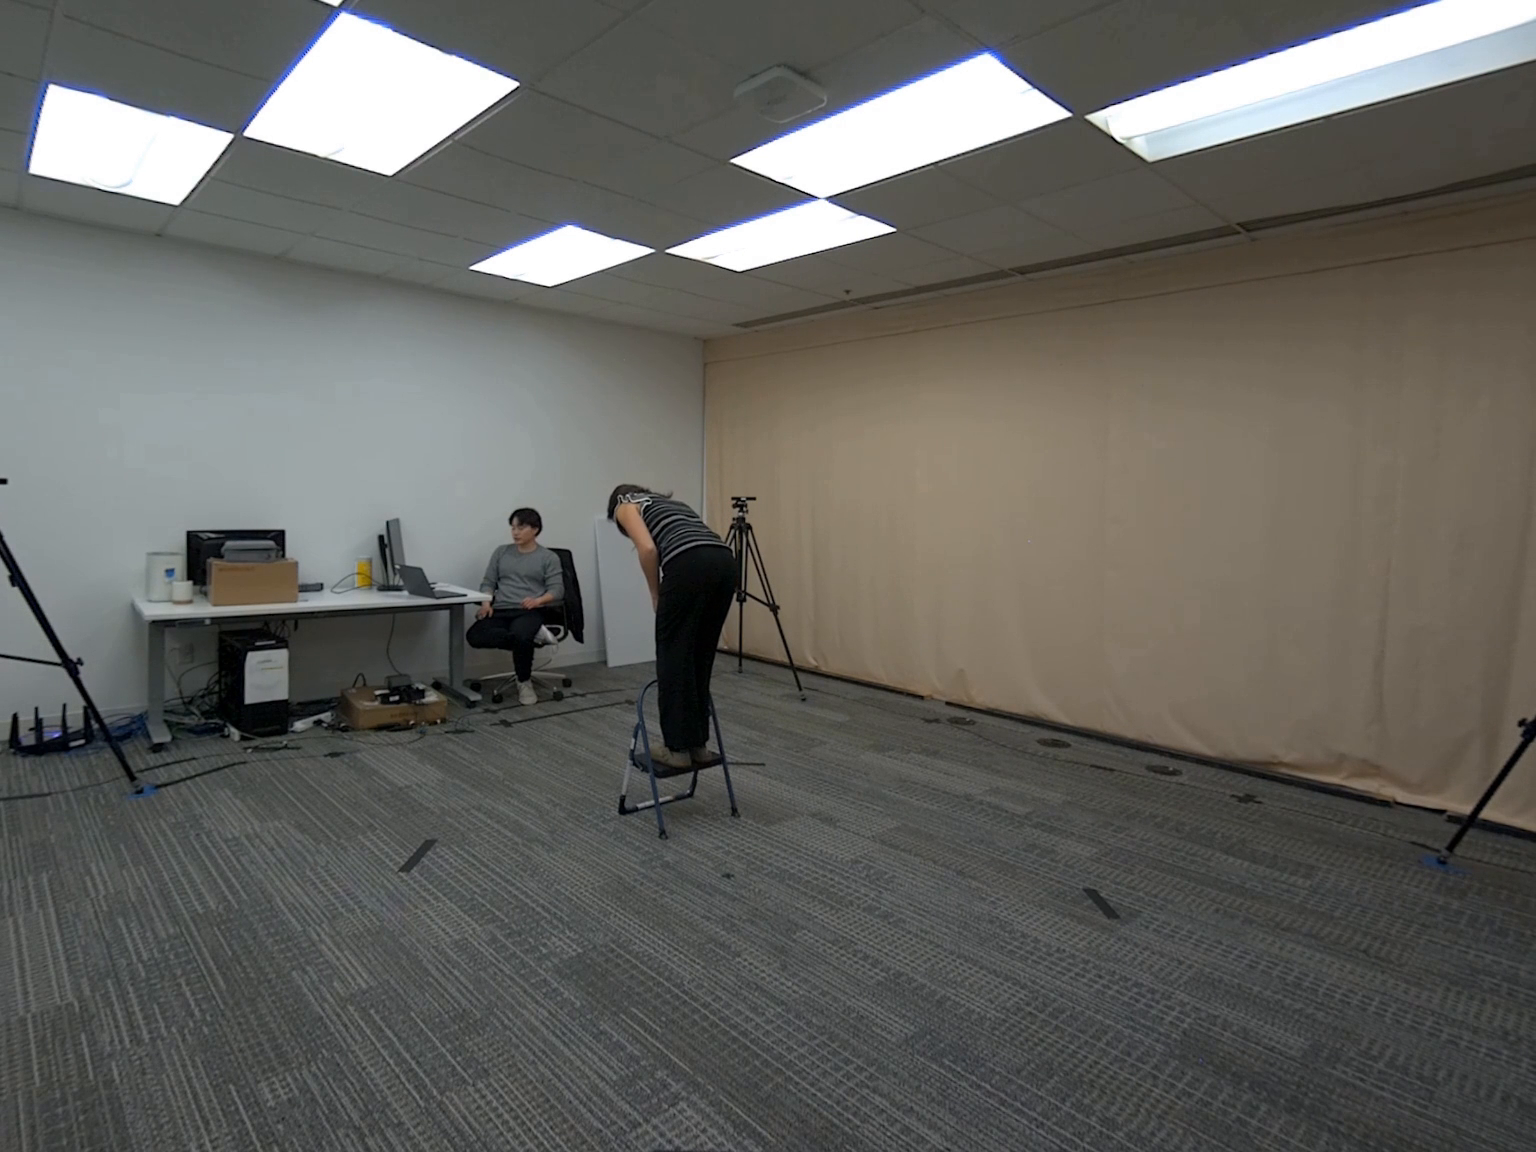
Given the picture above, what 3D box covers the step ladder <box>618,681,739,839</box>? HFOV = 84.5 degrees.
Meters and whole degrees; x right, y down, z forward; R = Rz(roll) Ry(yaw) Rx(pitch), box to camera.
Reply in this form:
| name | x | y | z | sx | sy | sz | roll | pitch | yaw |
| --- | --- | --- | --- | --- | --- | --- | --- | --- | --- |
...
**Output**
| name | x | y | z | sx | sy | sz | roll | pitch | yaw |
| --- | --- | --- | --- | --- | --- | --- | --- | --- | --- |
| step ladder | -0.392 | 0.749 | 3.680 | 0.420 | 0.605 | 0.358 | -1 | 4 | -43 |
